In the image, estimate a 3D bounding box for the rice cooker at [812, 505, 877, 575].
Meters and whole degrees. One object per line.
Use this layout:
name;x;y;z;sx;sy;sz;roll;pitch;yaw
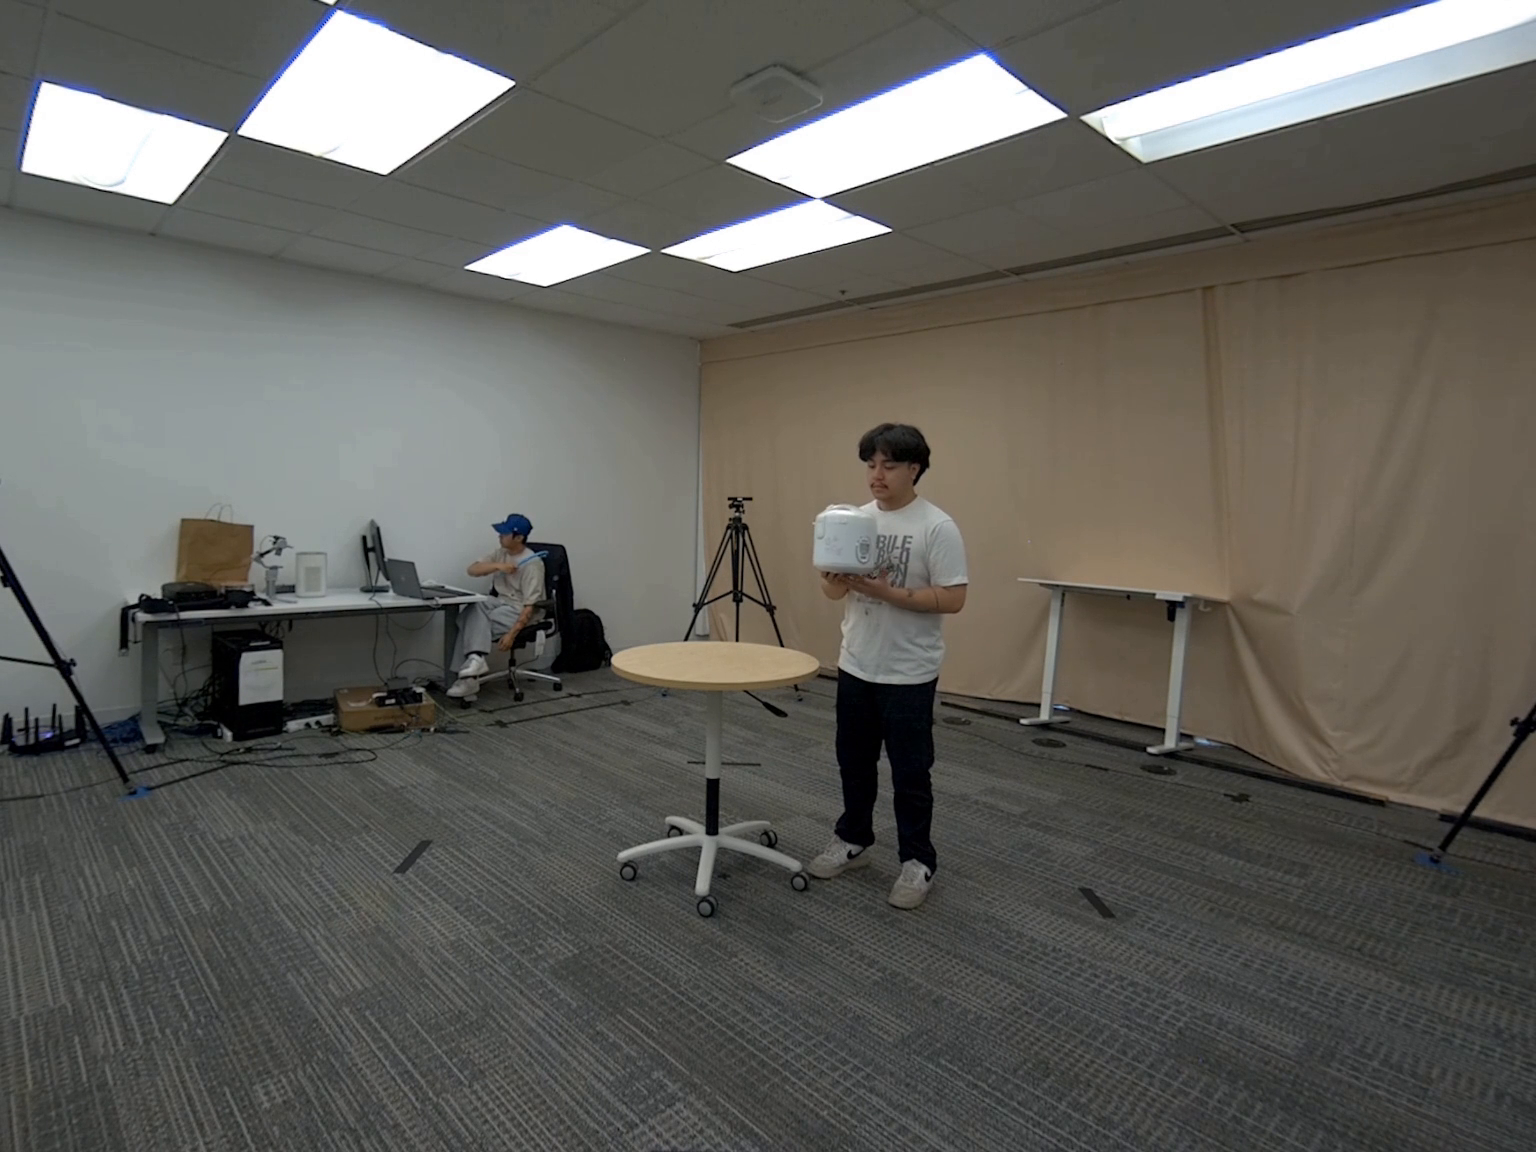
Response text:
rice cooker;0.258;-0.120;2.819;0.216;0.233;0.222;4;-3;-30
